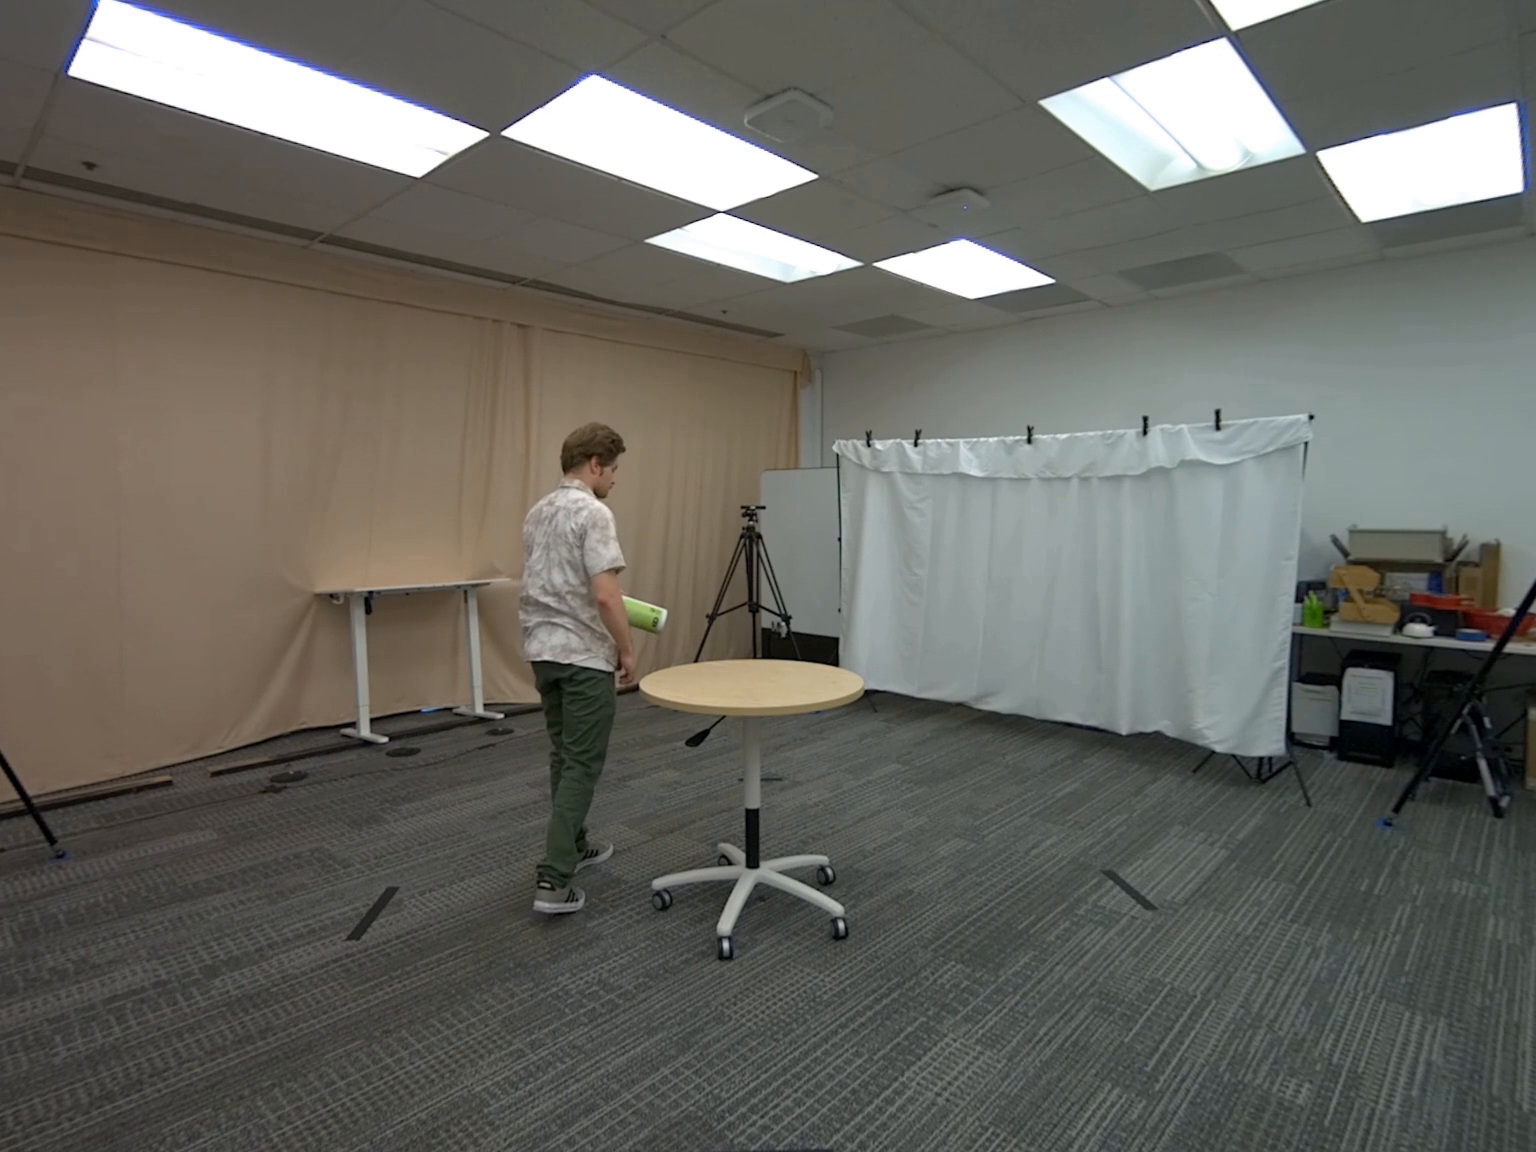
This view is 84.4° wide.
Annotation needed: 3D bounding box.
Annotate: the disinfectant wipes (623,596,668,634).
[{"bbox_3d":[-0.523,0.157,3.428,0.215,0.118,0.119,18,0,-11],"label":"disinfectant wipes"}]
